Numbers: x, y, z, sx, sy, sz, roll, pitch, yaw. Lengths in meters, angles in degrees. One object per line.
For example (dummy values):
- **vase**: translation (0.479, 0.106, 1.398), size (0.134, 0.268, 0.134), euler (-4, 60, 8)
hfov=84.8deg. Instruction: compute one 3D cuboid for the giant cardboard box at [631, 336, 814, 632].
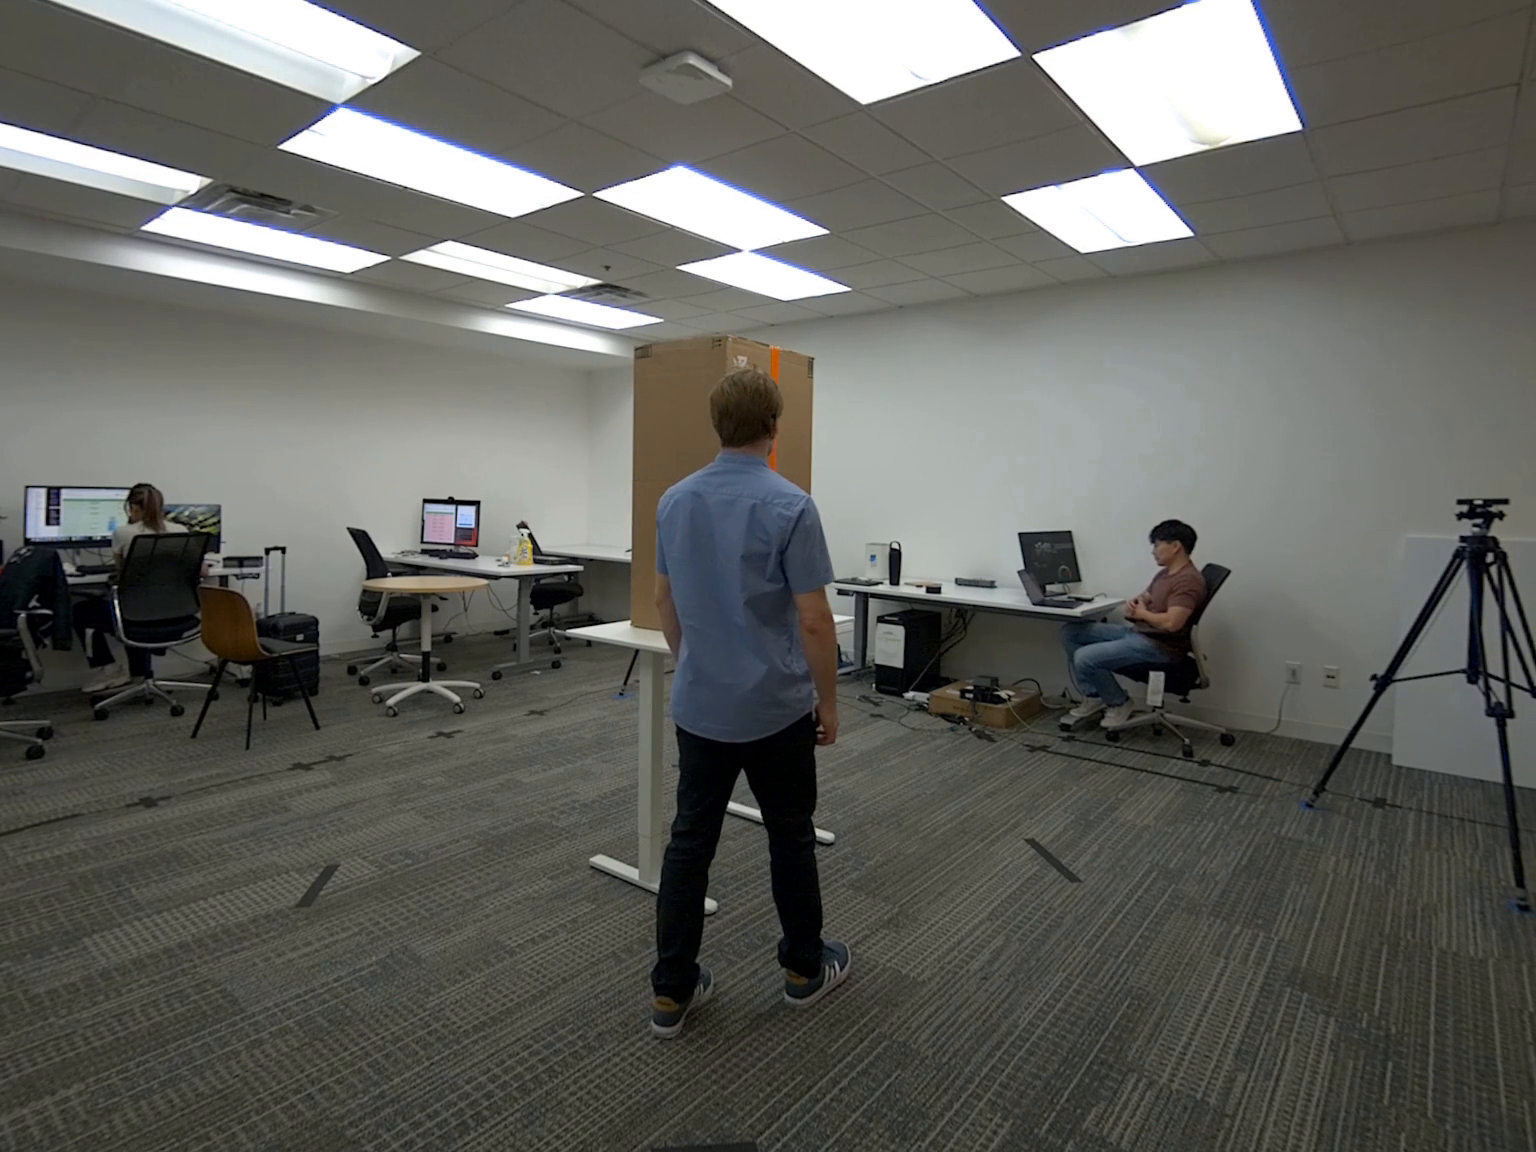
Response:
- **giant cardboard box**: translation (-0.170, -0.328, 3.189), size (0.440, 1.023, 0.561), euler (3, 4, 36)
